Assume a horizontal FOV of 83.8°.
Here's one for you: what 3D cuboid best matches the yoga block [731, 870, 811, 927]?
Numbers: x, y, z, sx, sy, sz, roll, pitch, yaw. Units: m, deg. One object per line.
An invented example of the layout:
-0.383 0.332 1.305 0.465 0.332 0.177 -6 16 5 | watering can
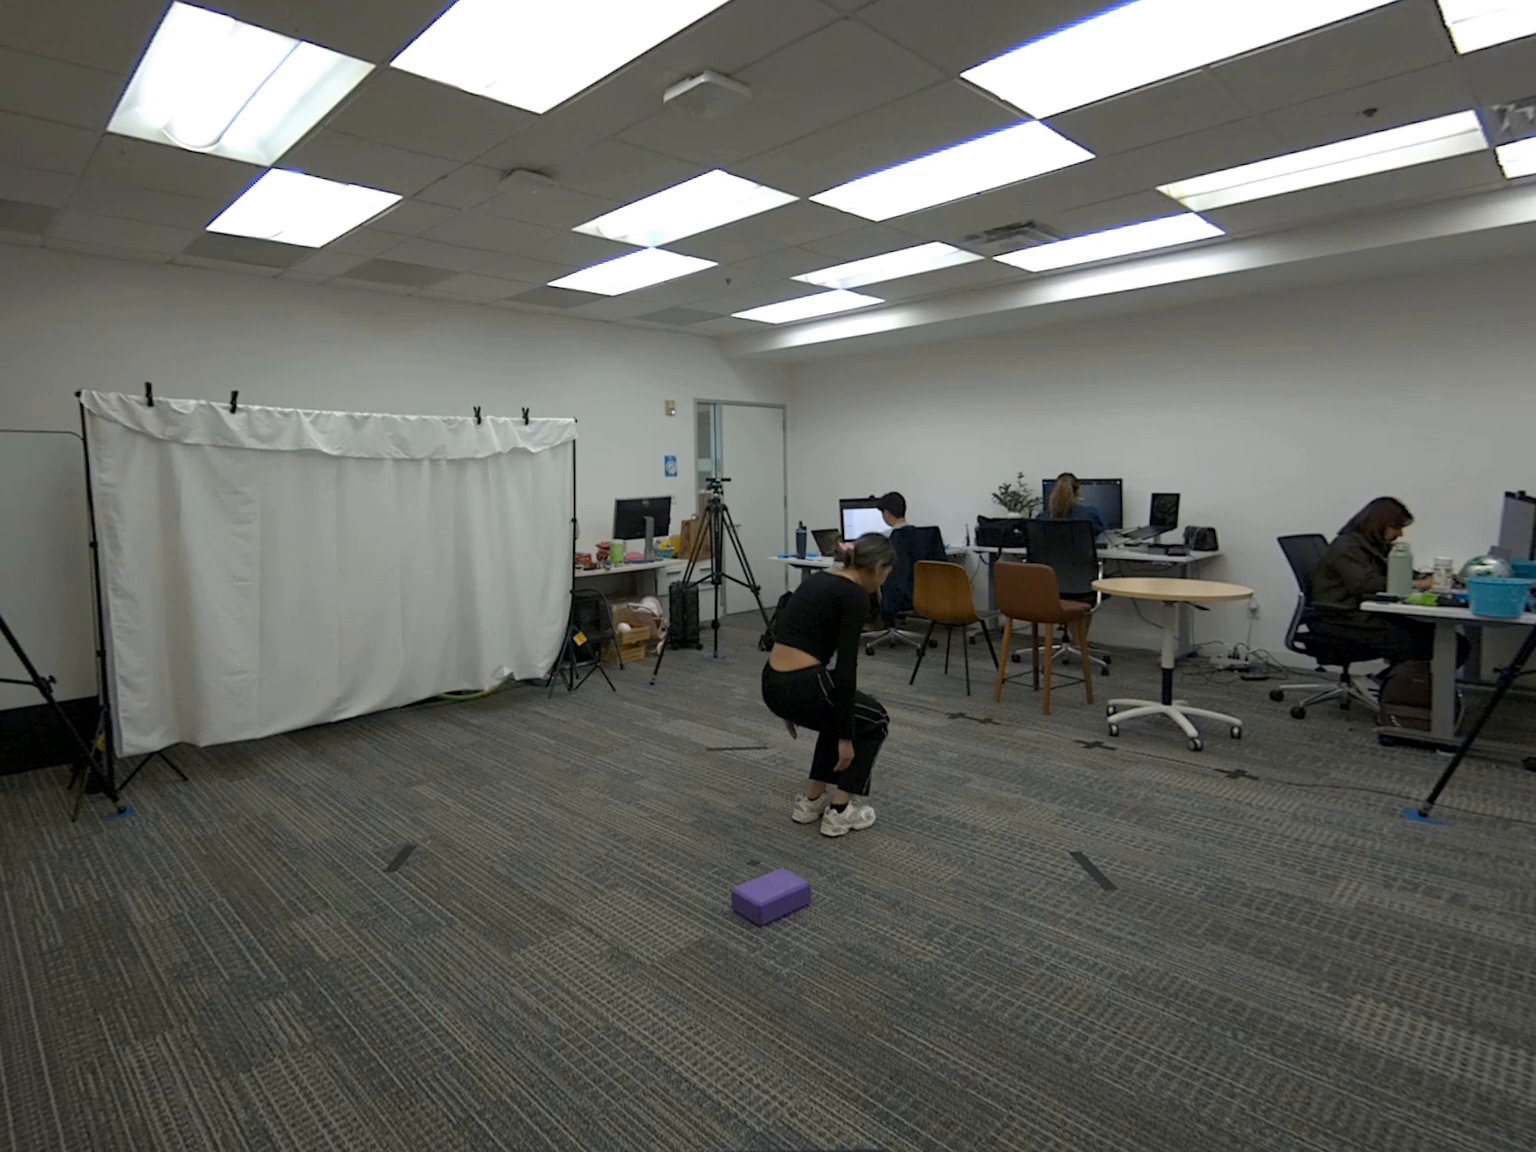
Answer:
0.016 1.042 2.775 0.223 0.076 0.153 -6 8 -40 | yoga block
